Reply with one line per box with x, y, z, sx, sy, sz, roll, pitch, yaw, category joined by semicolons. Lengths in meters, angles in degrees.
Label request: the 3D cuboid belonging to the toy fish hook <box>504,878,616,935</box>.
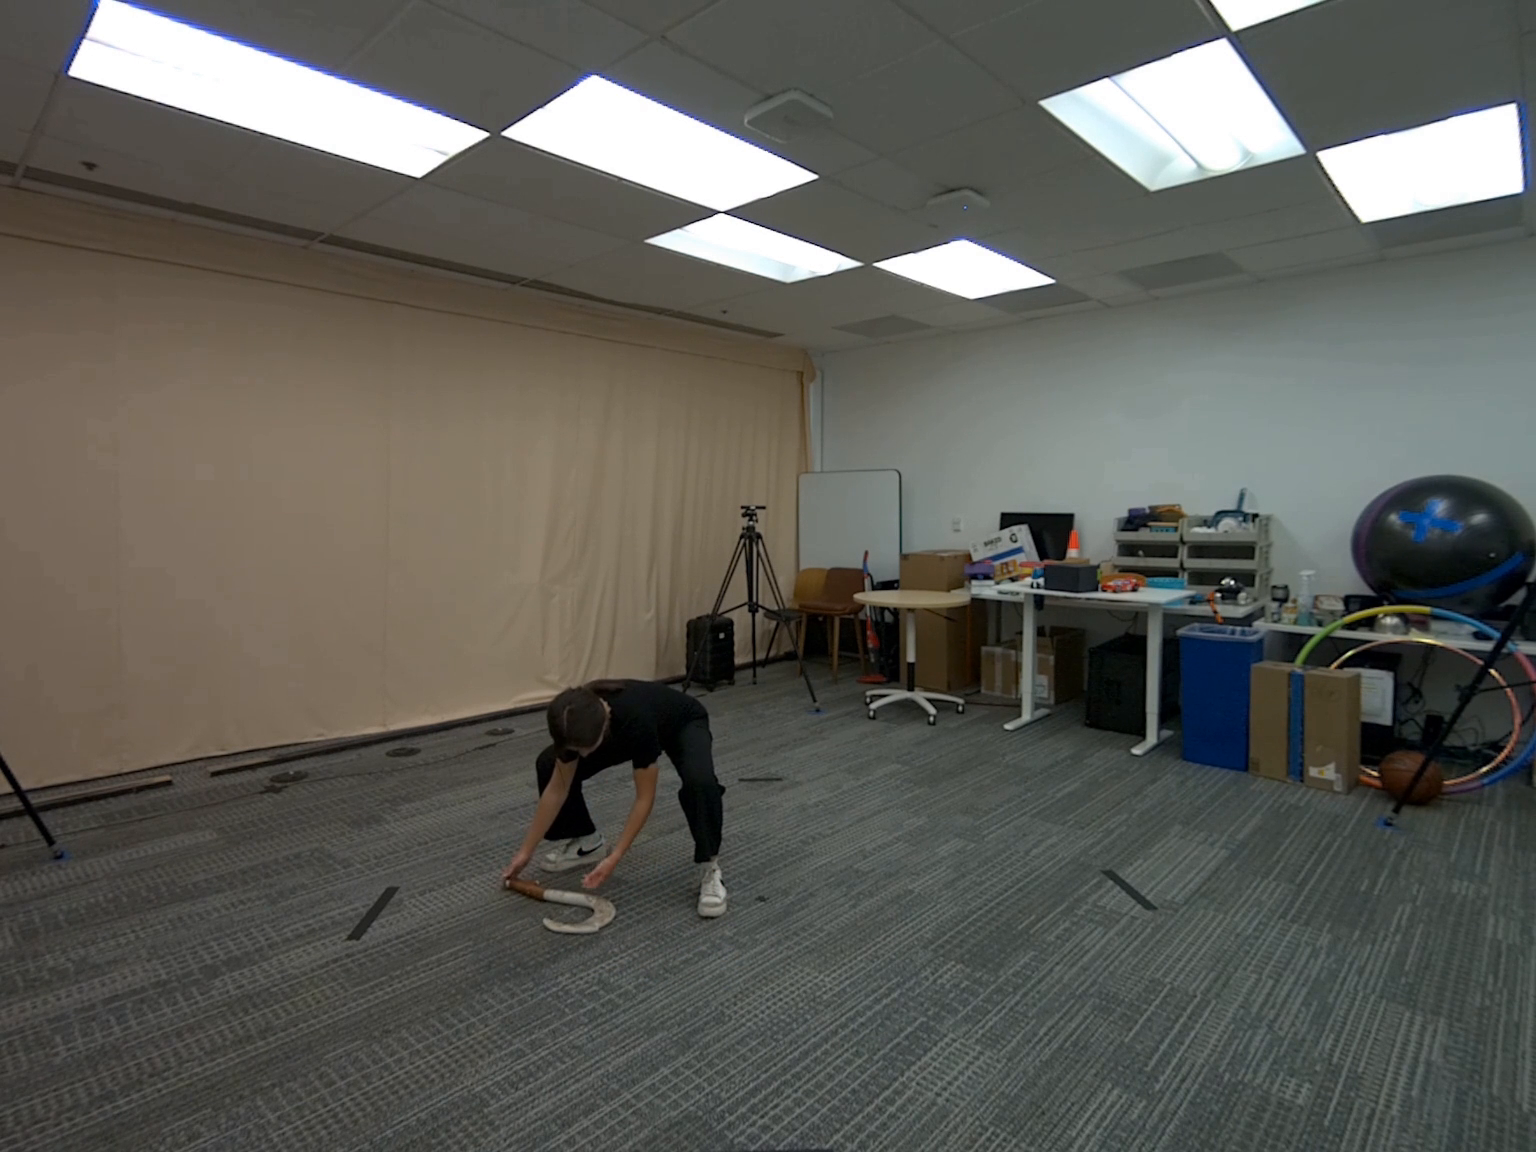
-0.756;1.137;2.907;0.521;0.048;0.218;2;3;30;toy fish hook
